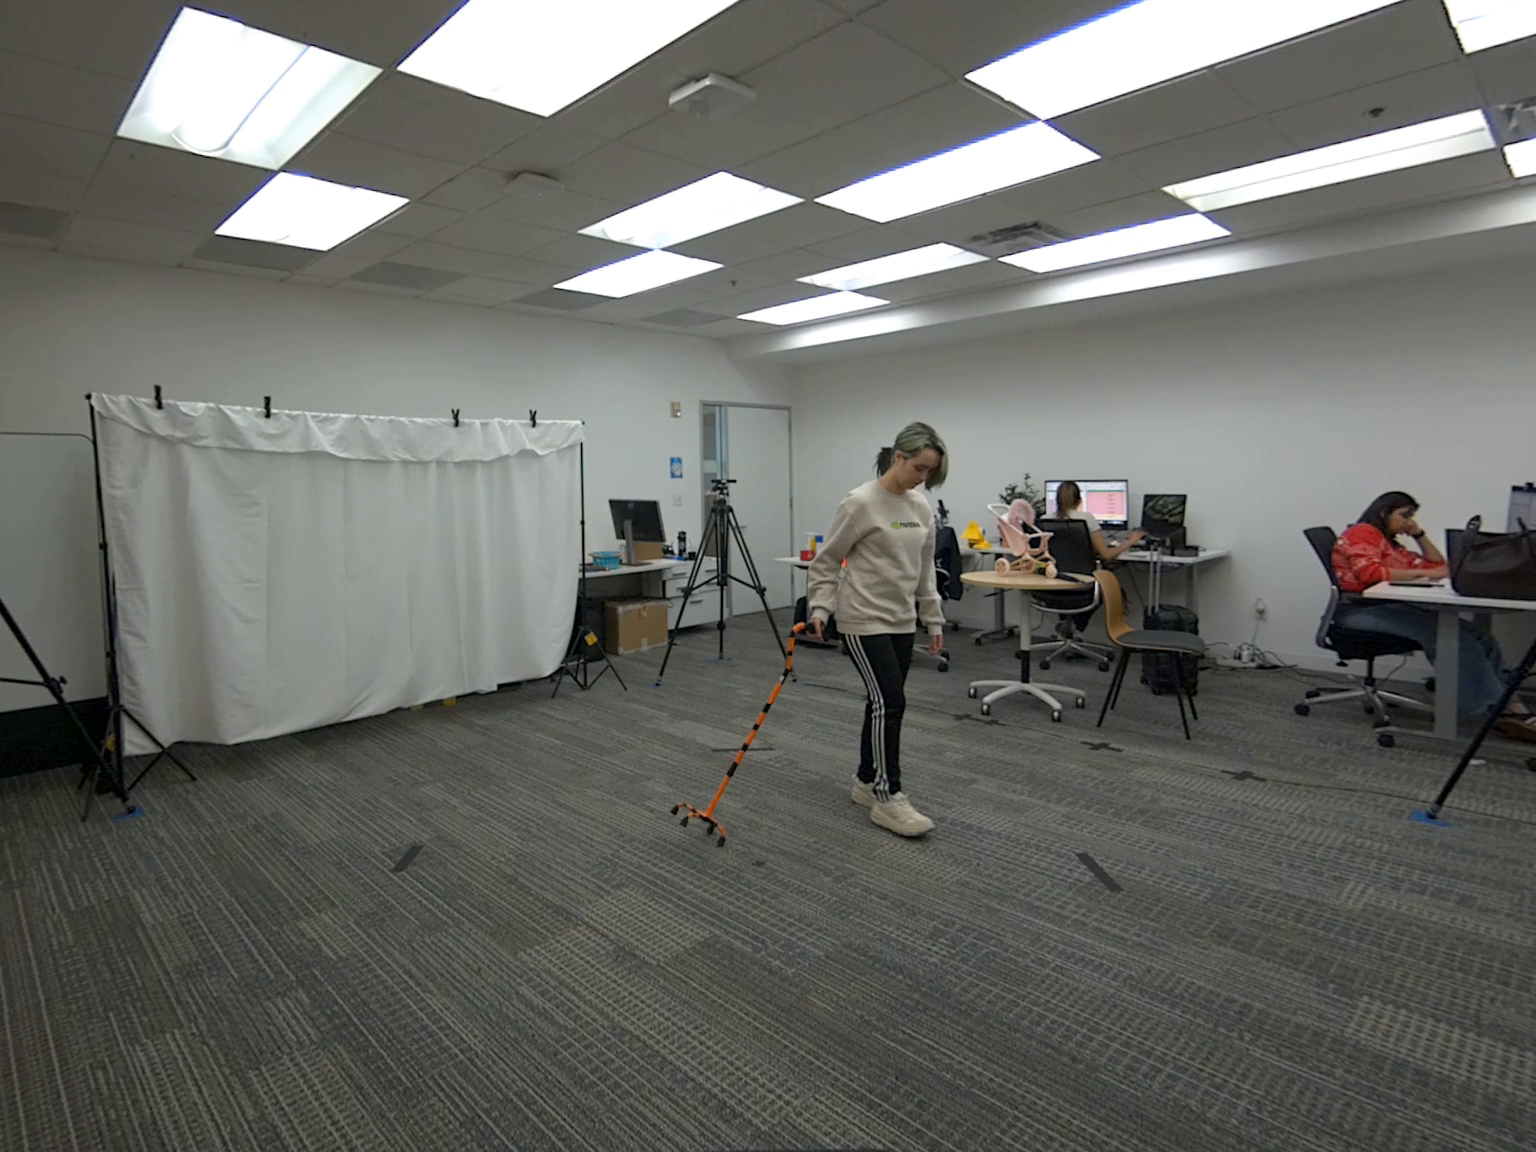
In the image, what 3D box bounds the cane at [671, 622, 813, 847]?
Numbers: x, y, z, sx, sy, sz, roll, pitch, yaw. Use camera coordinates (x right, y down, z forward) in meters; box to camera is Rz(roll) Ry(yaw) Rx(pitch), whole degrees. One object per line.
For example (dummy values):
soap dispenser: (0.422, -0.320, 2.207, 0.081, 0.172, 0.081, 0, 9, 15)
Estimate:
cane: (-0.058, 0.587, 3.350, 0.201, 0.910, 0.155, 32, -8, -20)
